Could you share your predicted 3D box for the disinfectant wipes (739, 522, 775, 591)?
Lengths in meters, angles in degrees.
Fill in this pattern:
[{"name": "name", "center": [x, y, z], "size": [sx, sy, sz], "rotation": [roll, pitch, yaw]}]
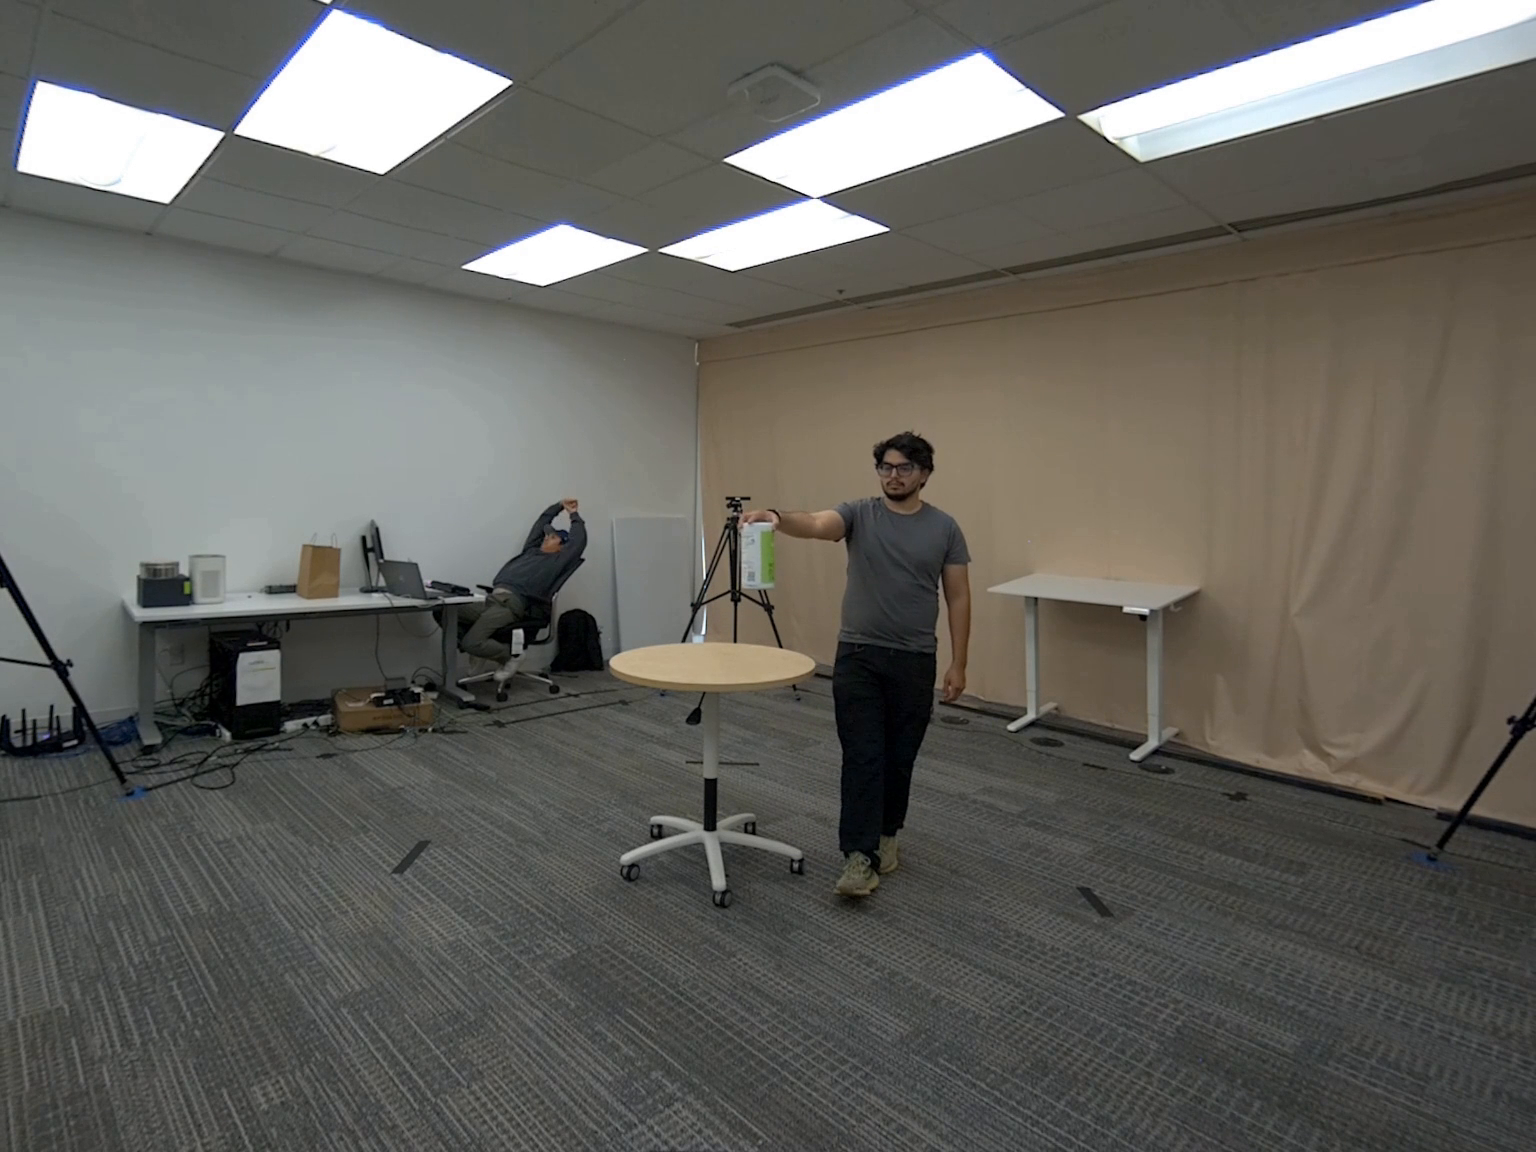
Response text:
[{"name": "disinfectant wipes", "center": [-0.039, -0.066, 2.719], "size": [0.118, 0.217, 0.118], "rotation": [-1, 0, -1]}]
